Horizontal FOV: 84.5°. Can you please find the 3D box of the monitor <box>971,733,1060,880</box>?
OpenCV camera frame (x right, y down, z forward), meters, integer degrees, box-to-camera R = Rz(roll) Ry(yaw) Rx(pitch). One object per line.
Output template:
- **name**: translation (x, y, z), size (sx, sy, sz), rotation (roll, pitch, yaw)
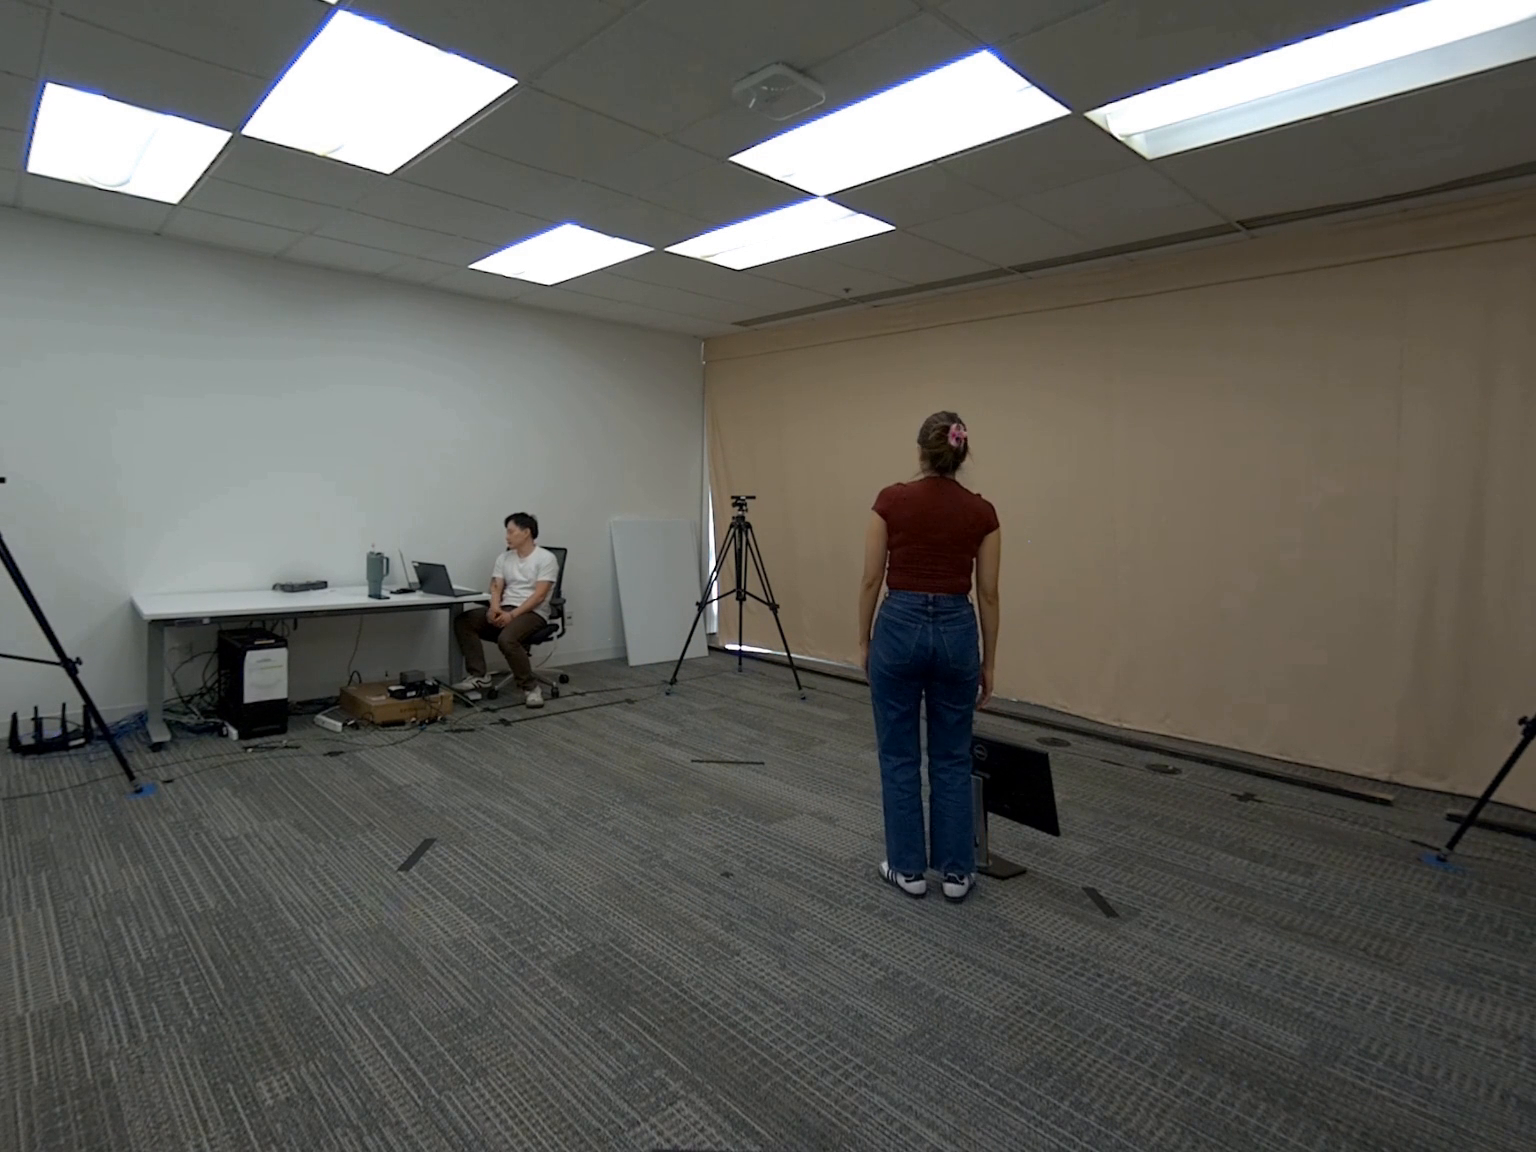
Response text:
- **monitor**: translation (0.828, 0.862, 3.246), size (0.183, 0.520, 0.553), rotation (-4, 7, -41)
